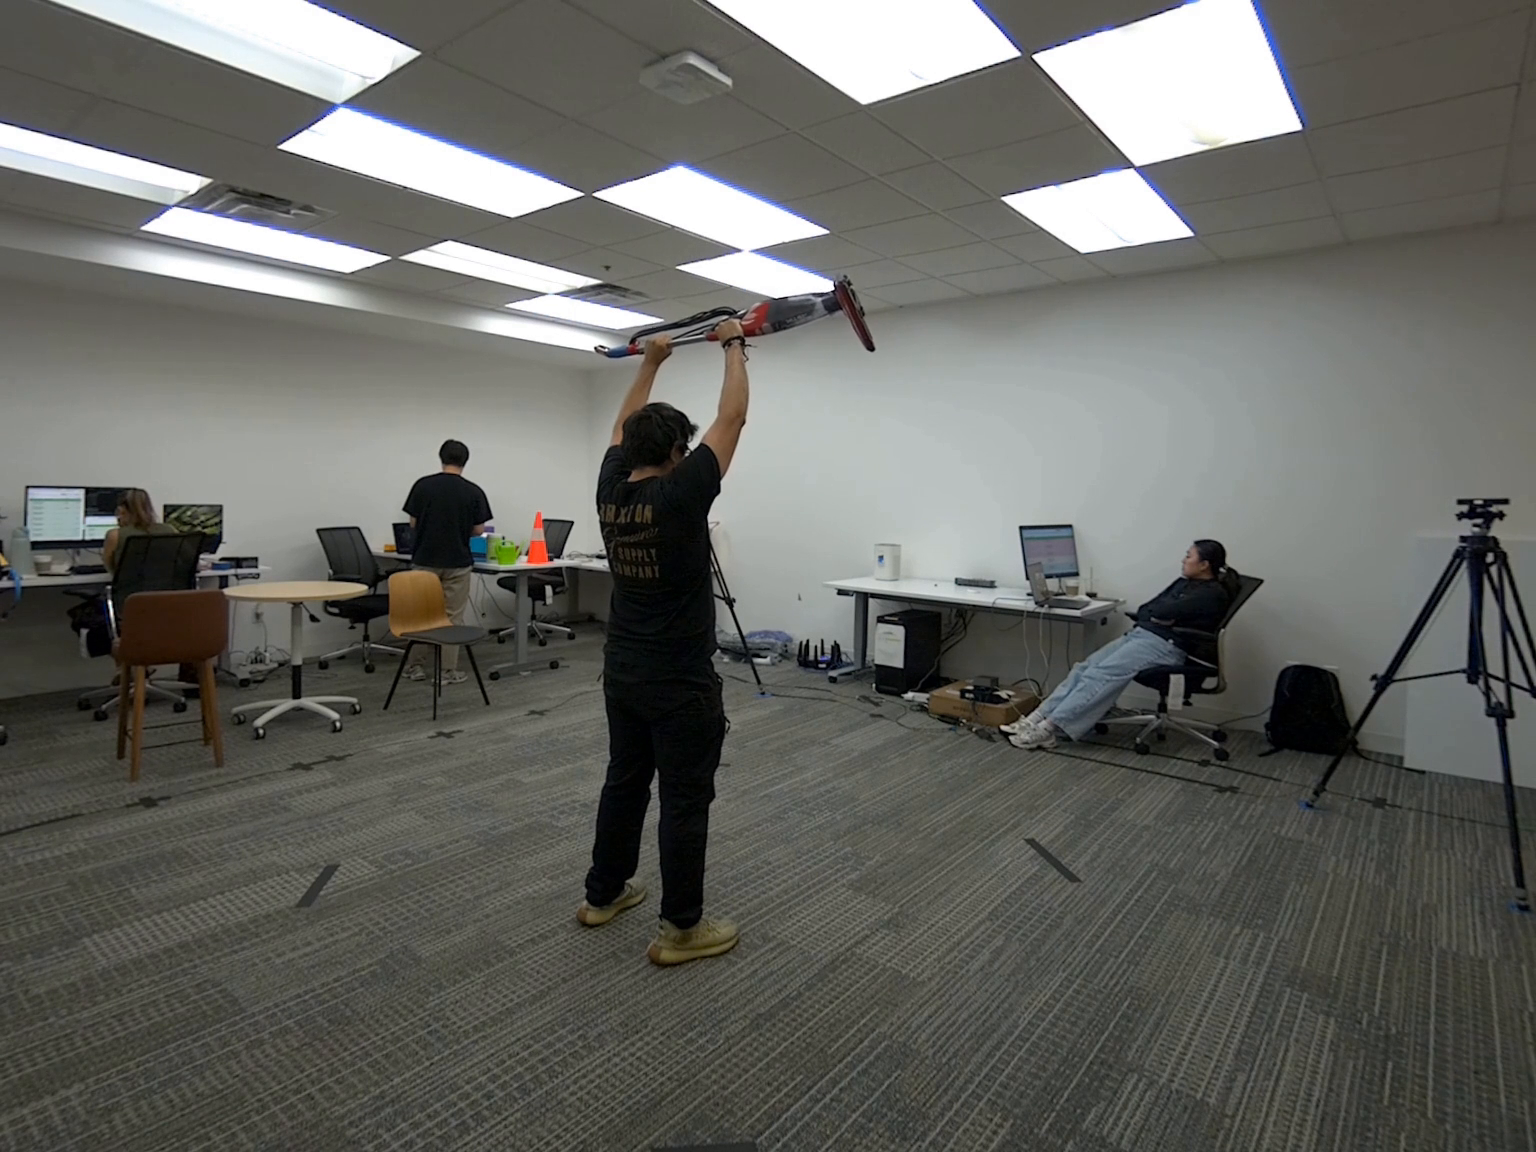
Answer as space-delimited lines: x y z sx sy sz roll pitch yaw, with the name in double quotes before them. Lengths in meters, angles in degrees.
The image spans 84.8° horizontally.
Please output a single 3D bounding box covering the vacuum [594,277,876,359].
"vacuum" -0.188 -0.808 2.746 1.083 0.145 0.242 5 -28 36
